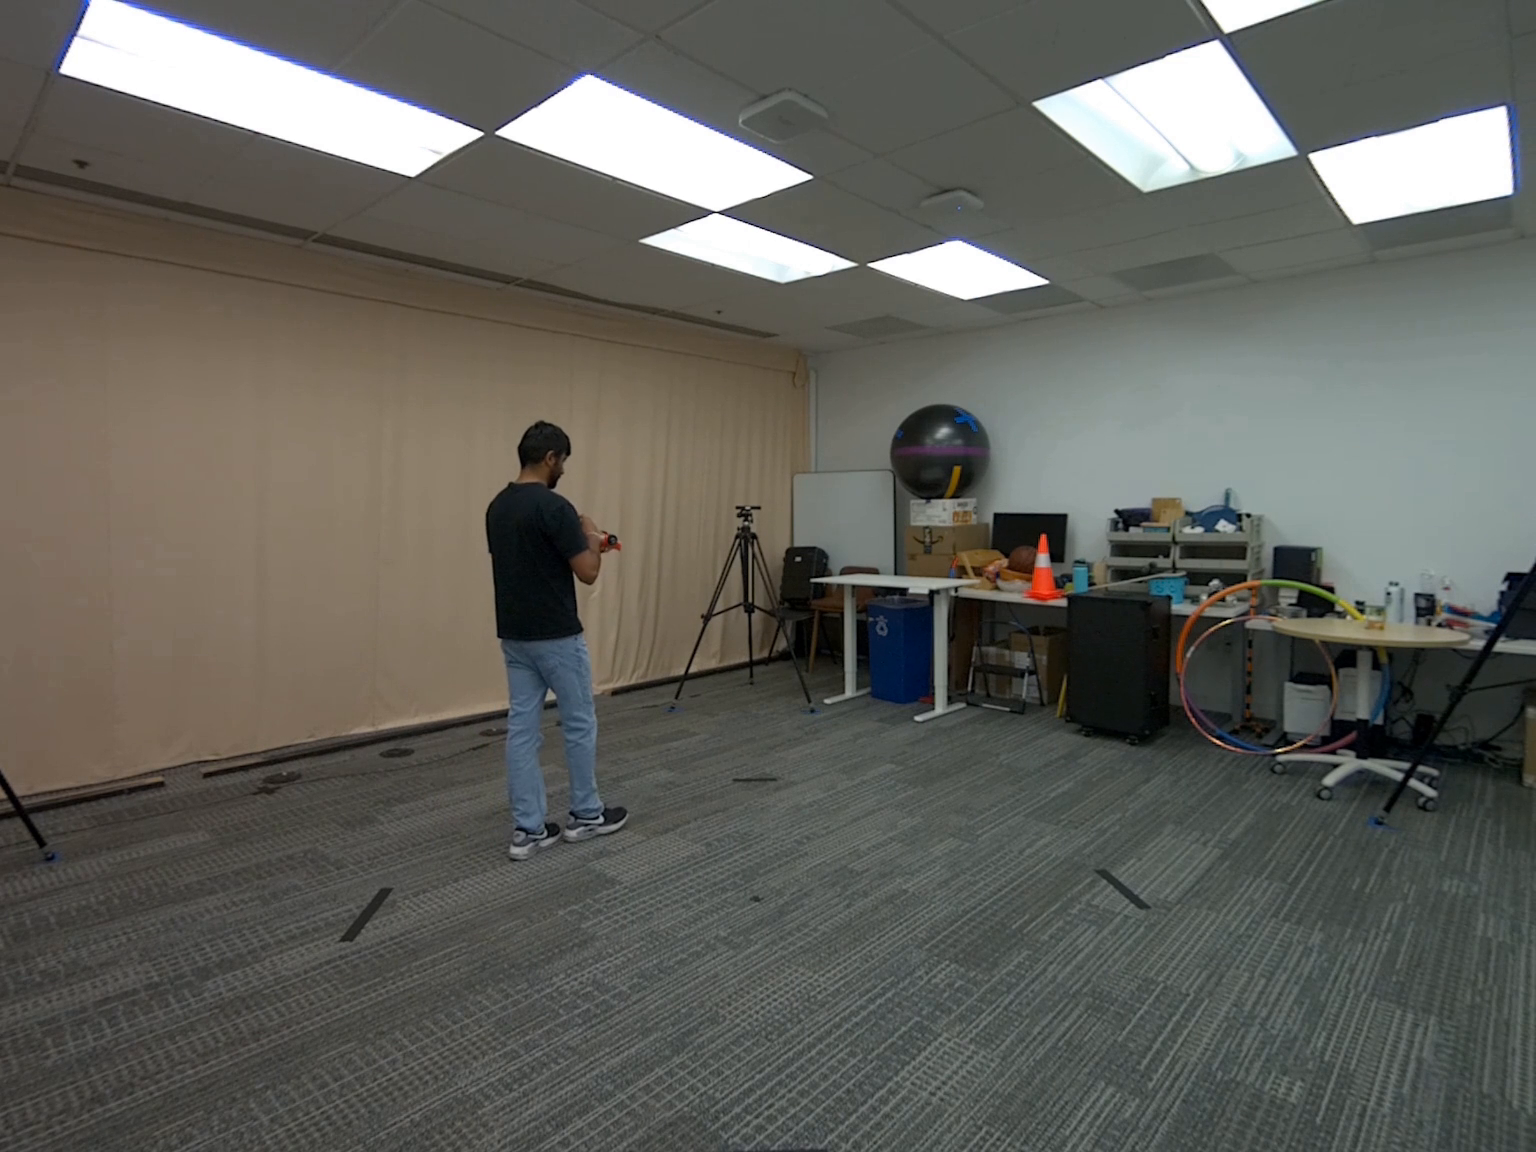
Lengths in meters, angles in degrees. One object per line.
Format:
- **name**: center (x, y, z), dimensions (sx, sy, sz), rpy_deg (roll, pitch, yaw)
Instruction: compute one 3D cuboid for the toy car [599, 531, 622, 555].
- **toy car**: center (-0.753, -0.173, 3.677), dimensions (0.246, 0.083, 0.135), rpy_deg (38, -12, -37)
